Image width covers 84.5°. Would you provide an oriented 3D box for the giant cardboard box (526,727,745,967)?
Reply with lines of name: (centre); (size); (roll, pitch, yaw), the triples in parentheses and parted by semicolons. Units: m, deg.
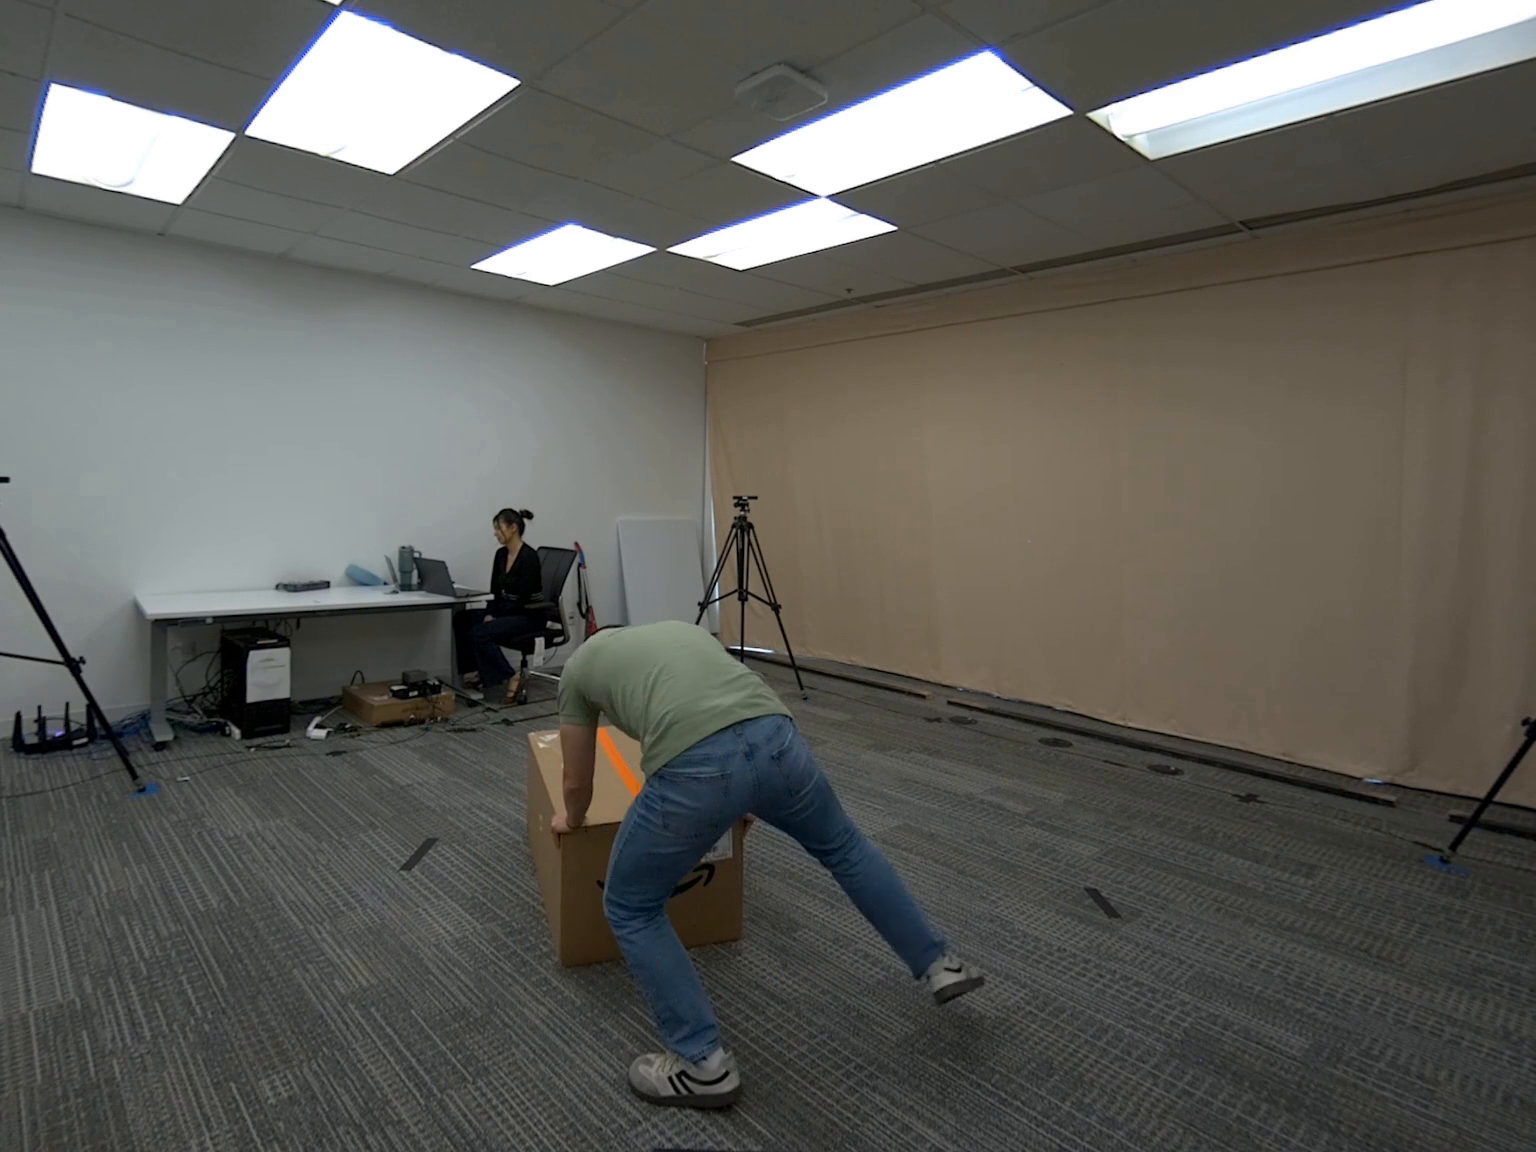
giant cardboard box: (-0.531, 0.887, 3.027); (0.569, 0.424, 1.045); (-1, 6, -21)
